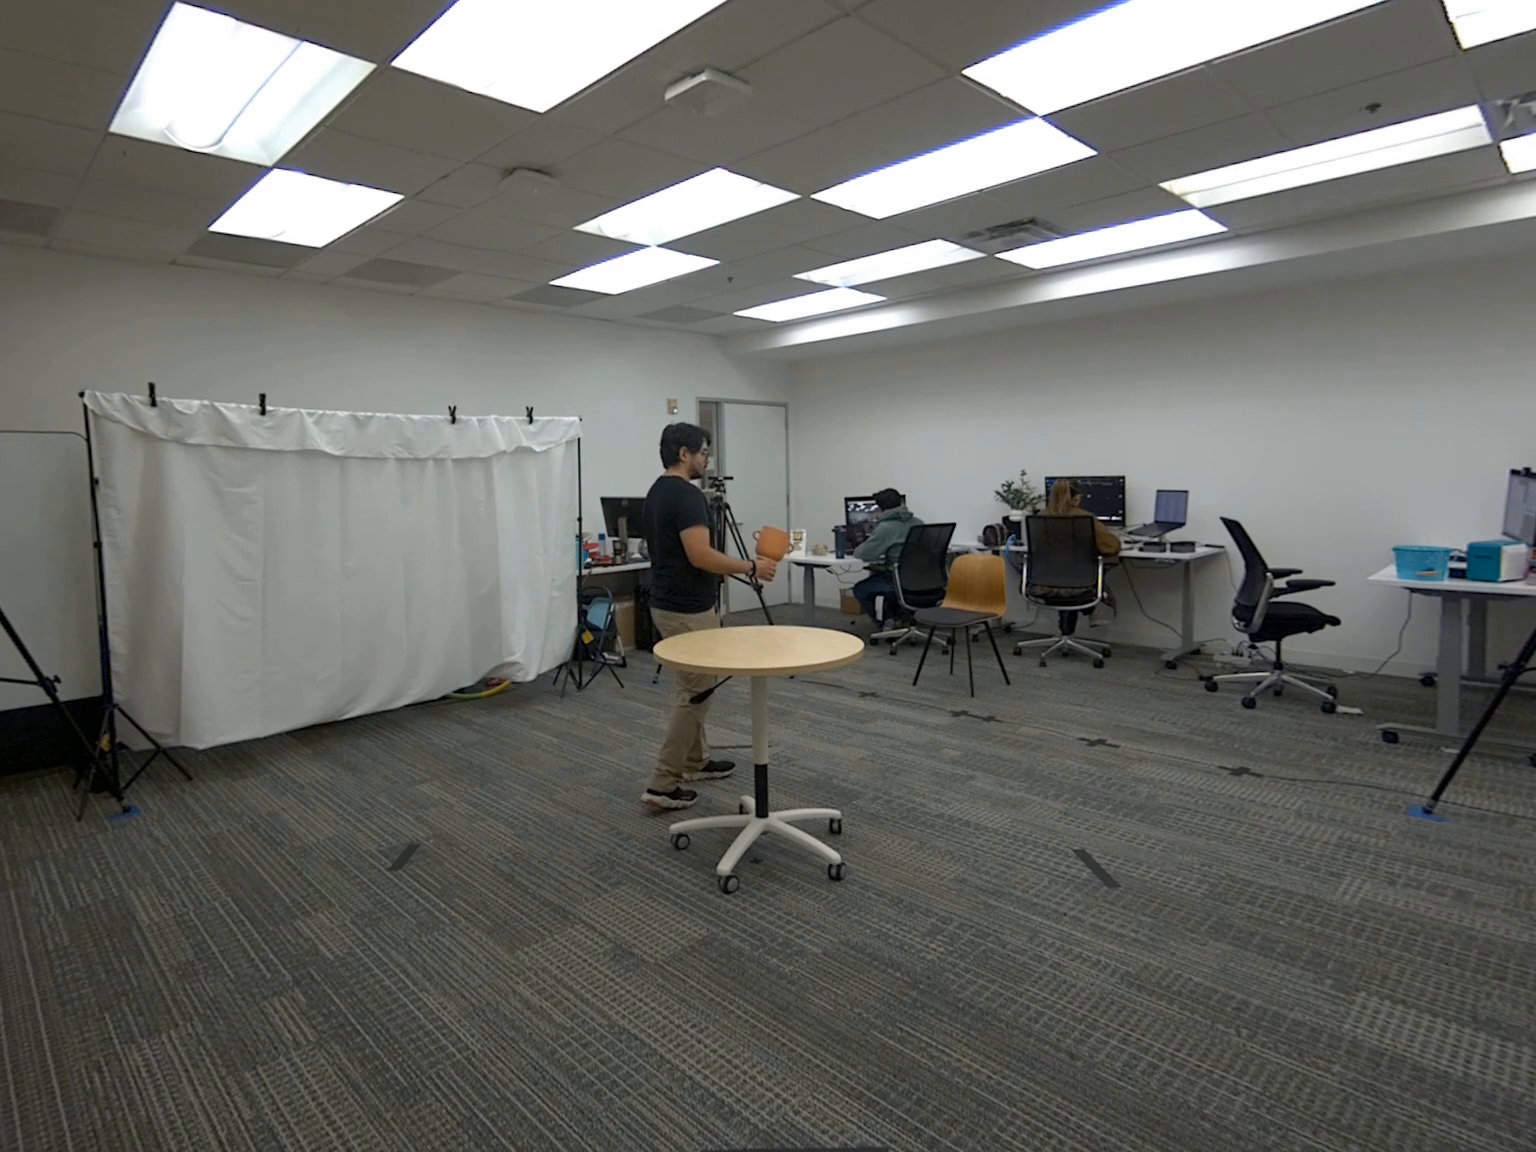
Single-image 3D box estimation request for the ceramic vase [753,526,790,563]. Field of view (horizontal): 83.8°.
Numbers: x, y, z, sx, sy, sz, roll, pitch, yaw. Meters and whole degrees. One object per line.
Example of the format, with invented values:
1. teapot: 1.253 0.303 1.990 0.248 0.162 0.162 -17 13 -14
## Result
1. ceramic vase: 0.003 -0.094 3.746 0.163 0.221 0.130 15 -10 26
